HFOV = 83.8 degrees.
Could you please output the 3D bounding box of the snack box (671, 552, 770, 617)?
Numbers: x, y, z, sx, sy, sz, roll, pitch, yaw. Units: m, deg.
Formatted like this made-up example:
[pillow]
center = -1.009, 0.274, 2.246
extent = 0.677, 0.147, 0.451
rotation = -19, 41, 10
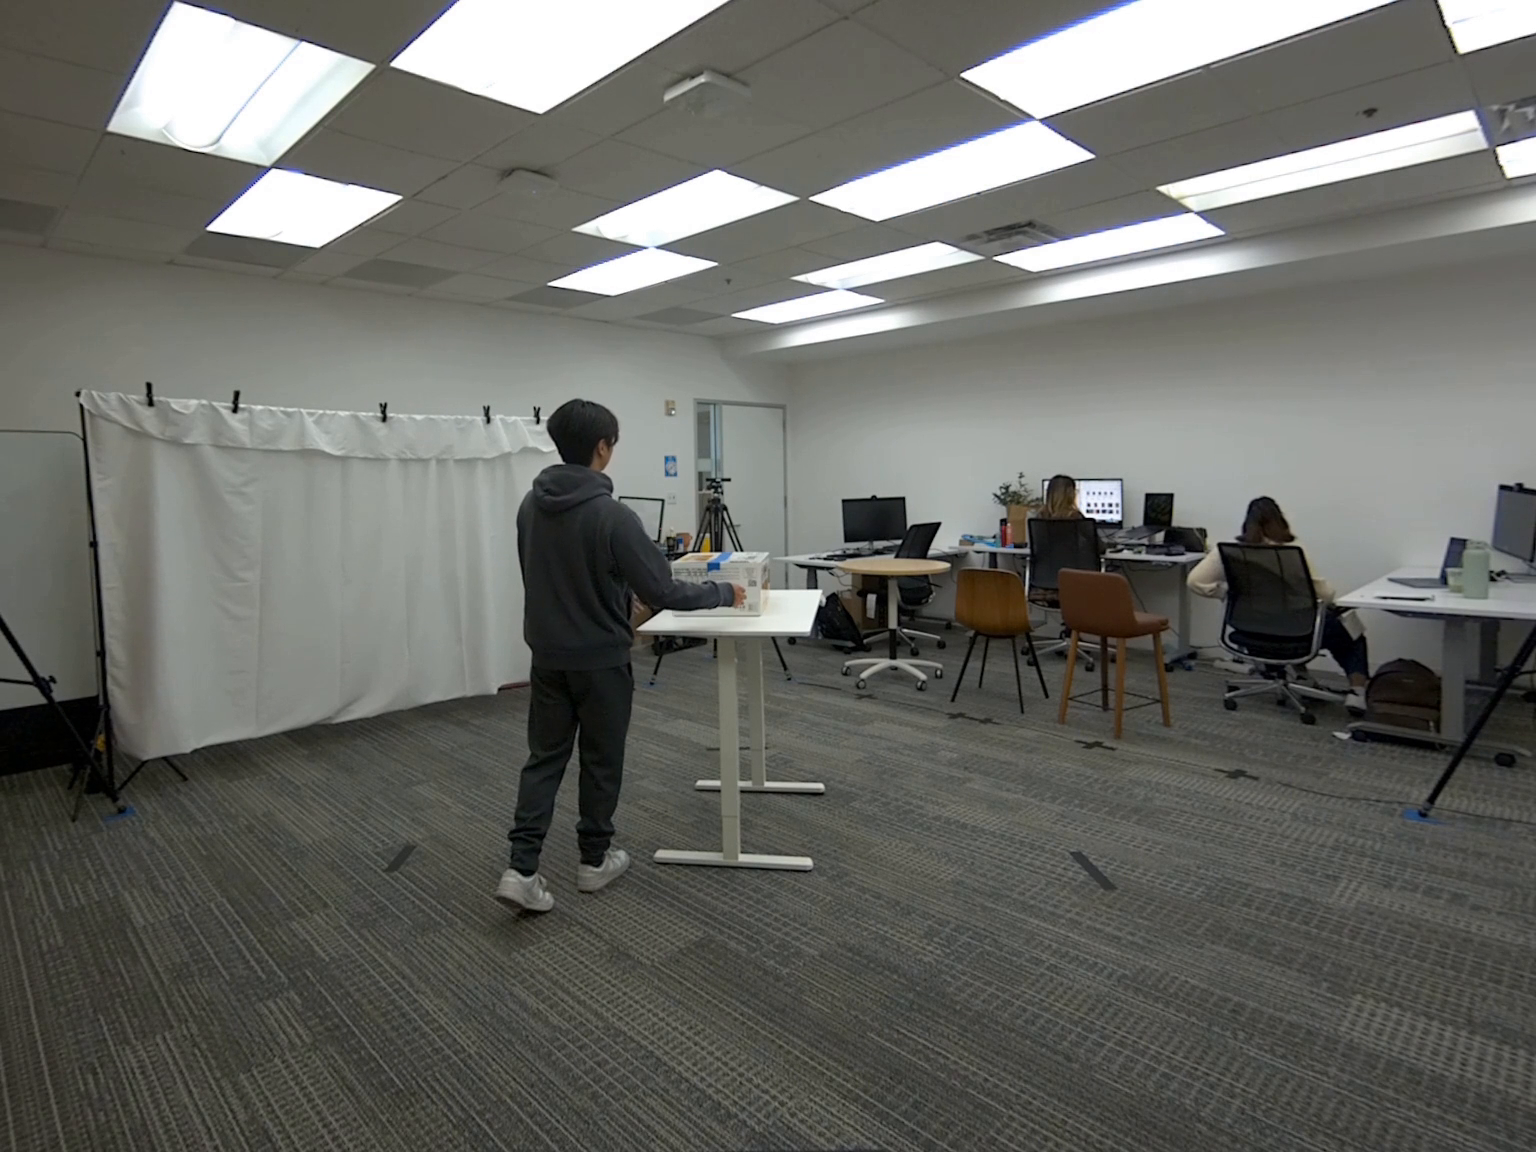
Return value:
[snack box]
center = -0.178, 0.028, 3.395
extent = 0.343, 0.205, 0.404
rotation = -1, 6, 7
